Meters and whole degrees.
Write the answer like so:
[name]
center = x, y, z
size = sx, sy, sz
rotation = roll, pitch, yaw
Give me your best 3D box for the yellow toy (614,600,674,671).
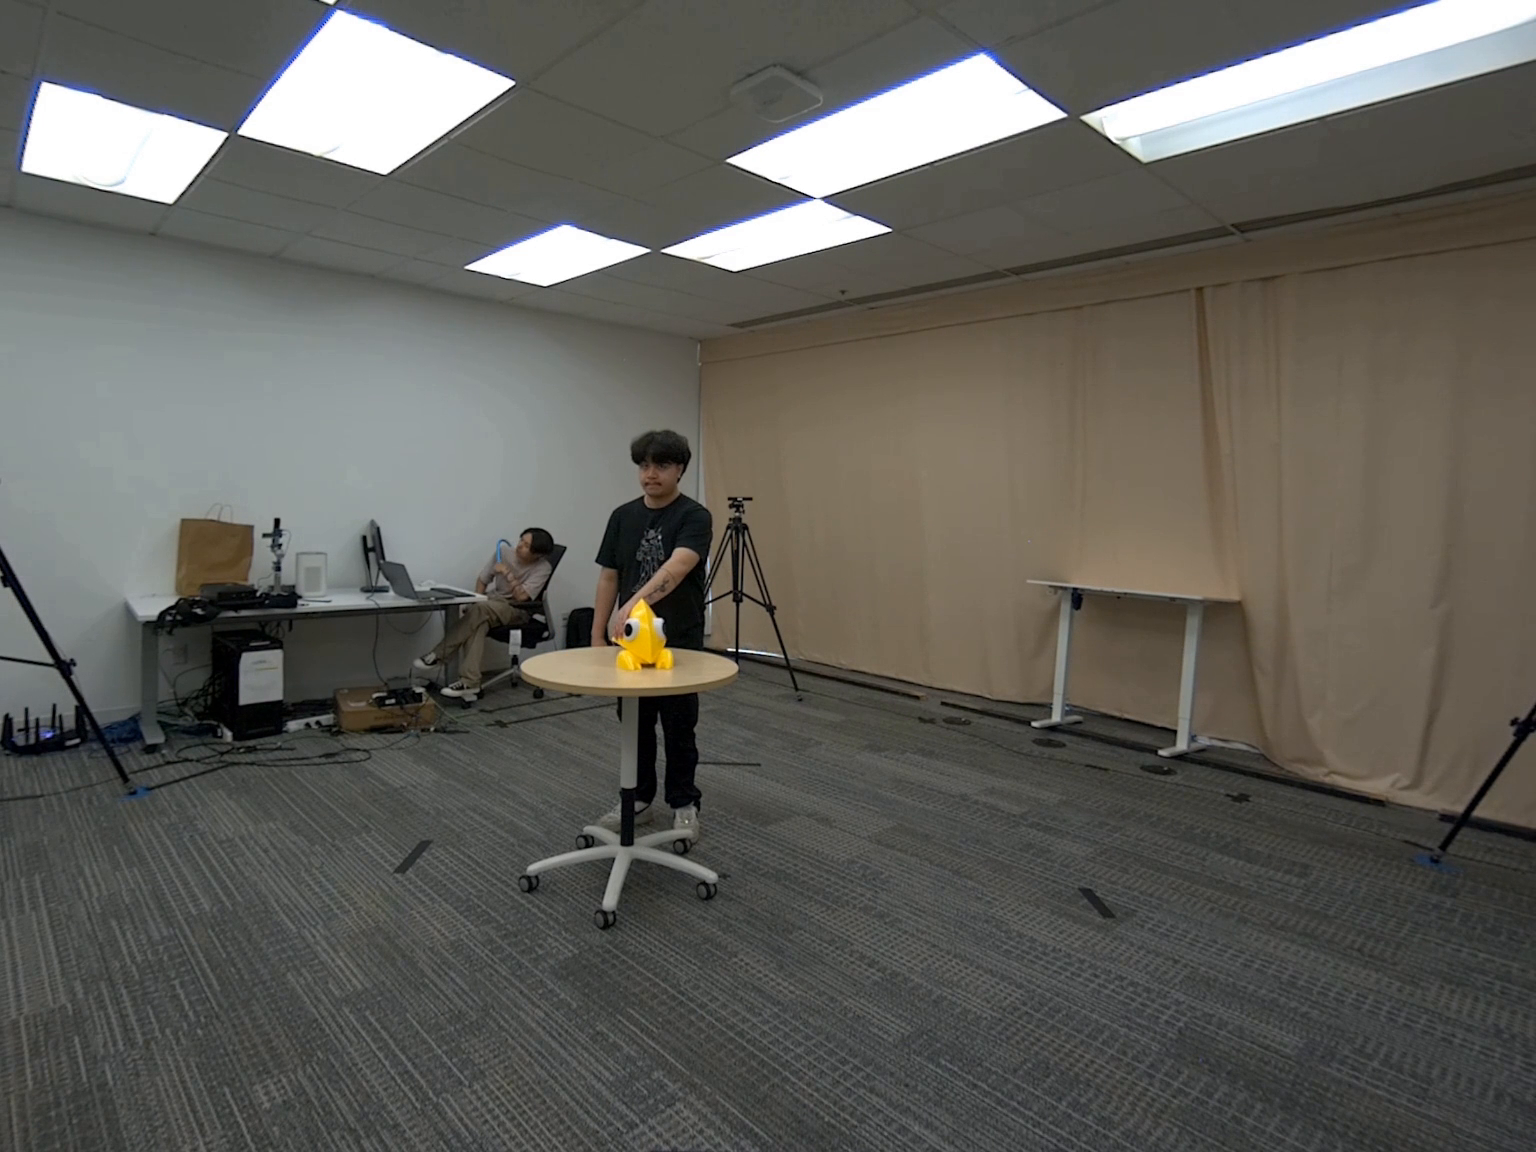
[yellow toy]
center = -0.452, 0.205, 2.993
size = 0.202, 0.230, 0.196
rotation = 0, 4, -20
